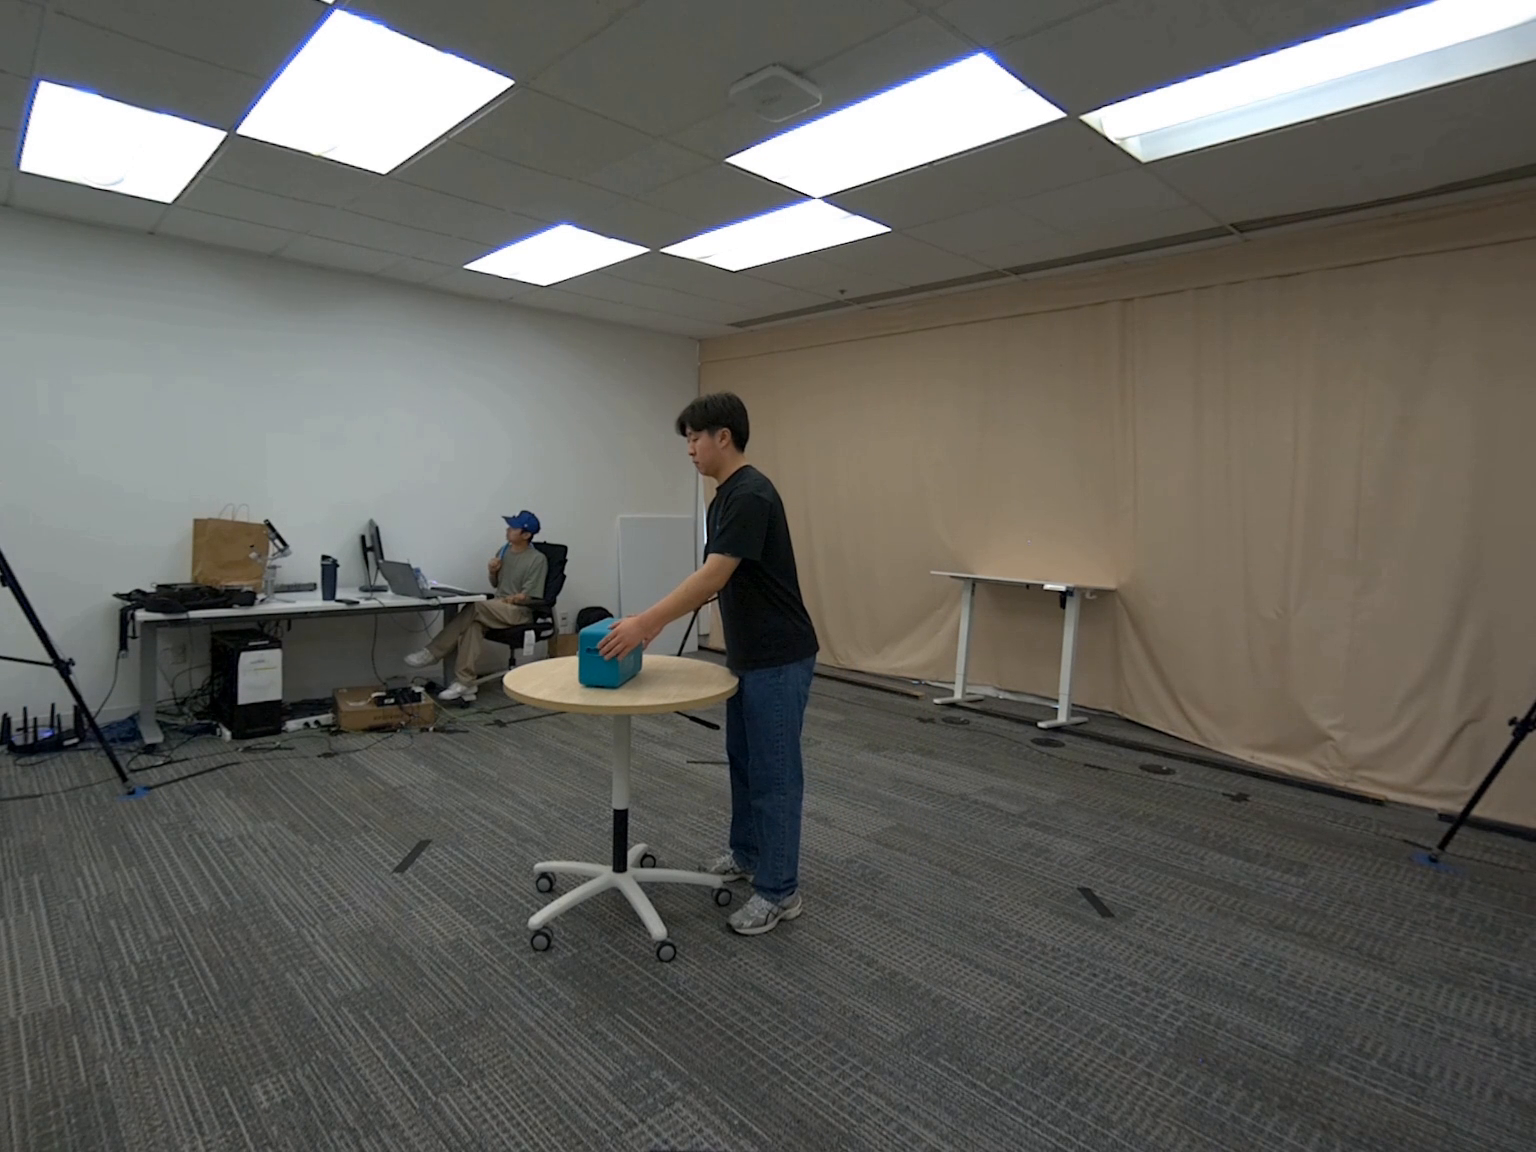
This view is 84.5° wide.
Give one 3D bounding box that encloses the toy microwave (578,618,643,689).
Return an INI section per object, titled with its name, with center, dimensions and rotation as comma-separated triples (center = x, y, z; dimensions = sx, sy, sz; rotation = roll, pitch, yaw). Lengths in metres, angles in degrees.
[toy microwave]
center = -0.513, 0.251, 2.711
dimensions = 0.153, 0.183, 0.285
rotation = 2, 7, 7
